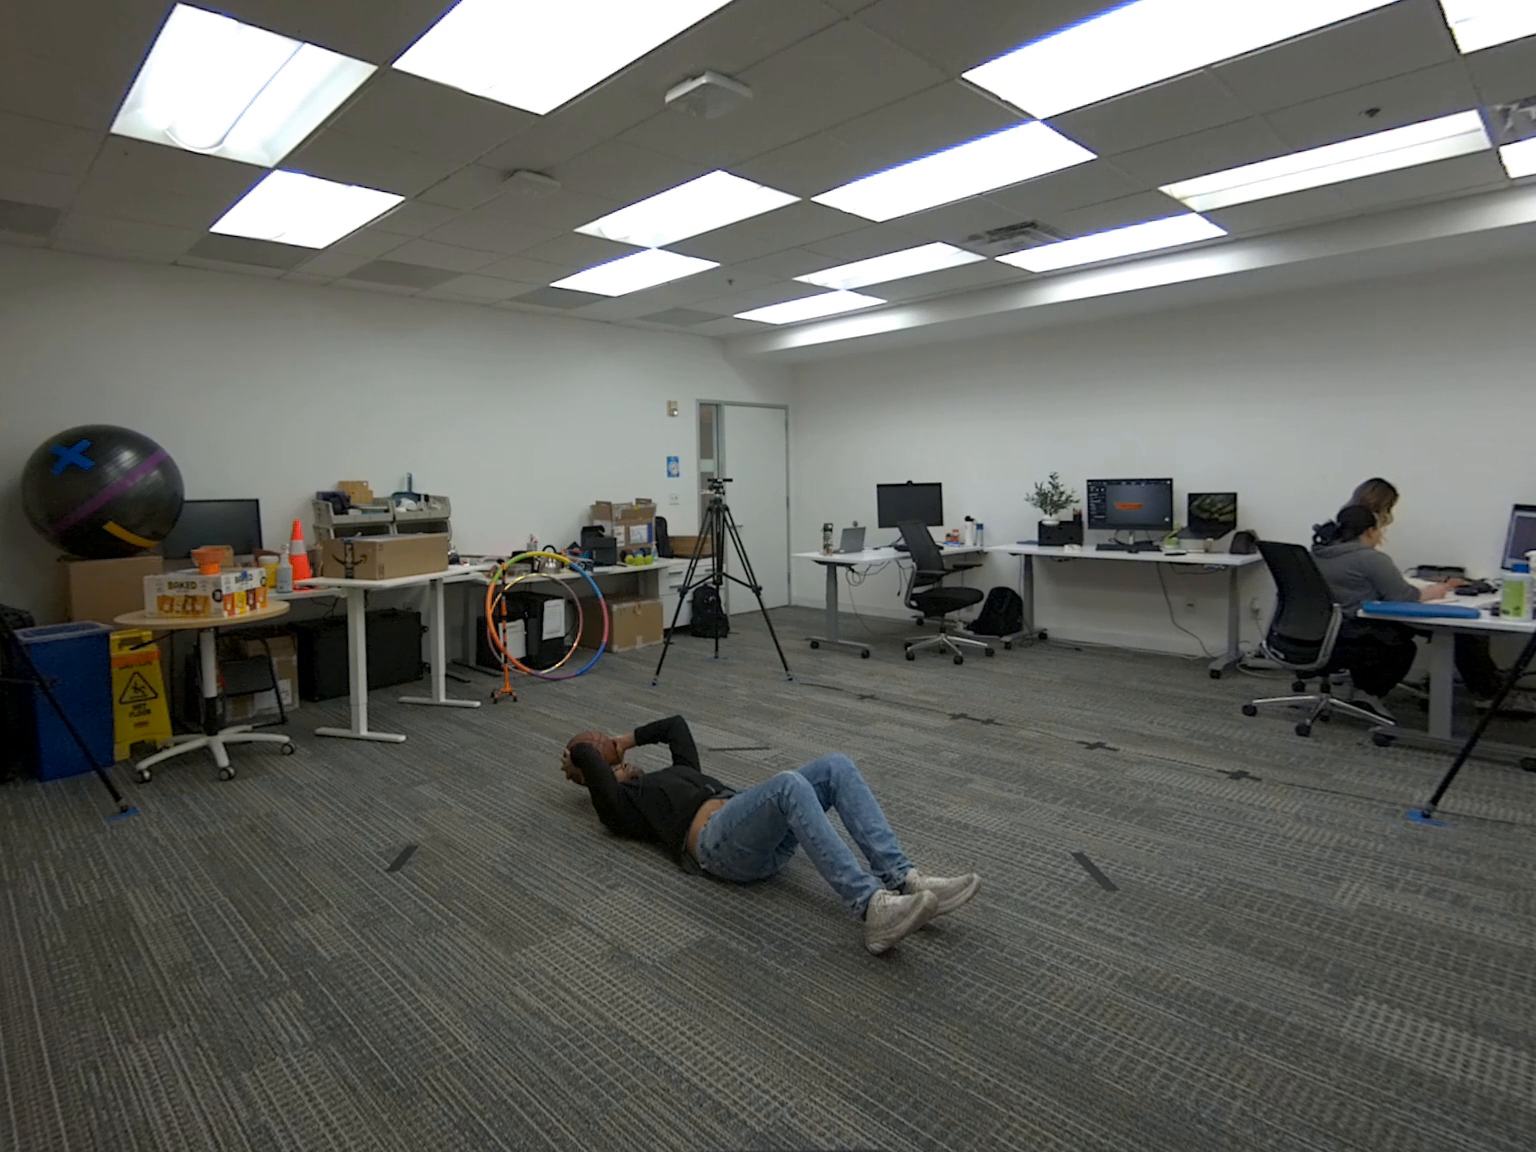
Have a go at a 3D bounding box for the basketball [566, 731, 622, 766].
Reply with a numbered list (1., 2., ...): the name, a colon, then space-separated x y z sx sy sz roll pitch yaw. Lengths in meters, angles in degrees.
1. basketball: -0.780 0.794 3.772 0.236 0.235 0.237 -1 5 -2
